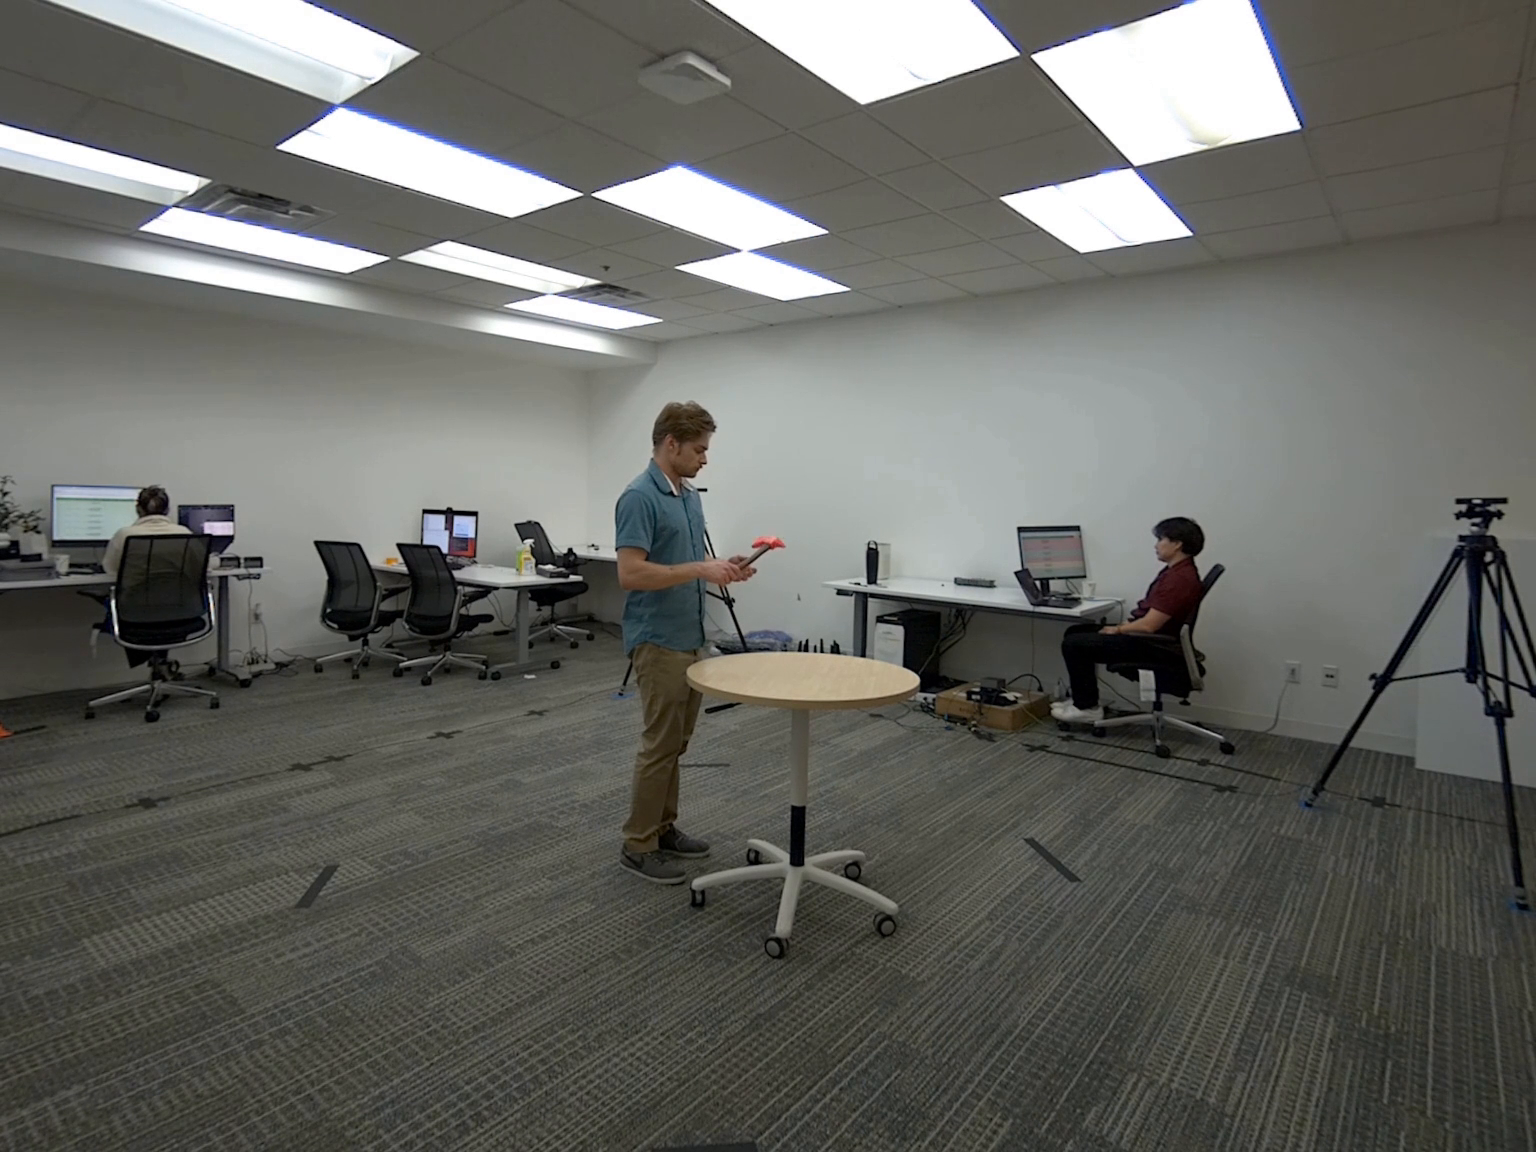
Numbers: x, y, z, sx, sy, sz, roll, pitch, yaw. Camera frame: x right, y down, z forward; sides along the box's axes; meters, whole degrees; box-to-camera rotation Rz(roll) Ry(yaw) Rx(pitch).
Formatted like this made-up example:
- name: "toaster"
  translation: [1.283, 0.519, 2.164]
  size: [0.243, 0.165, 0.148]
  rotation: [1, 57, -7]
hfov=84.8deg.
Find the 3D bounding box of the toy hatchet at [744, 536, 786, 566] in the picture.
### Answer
- name: "toy hatchet"
  translation: [-0.087, -0.079, 3.039]
  size: [0.267, 0.028, 0.137]
  rotation: [-26, 38, -18]
